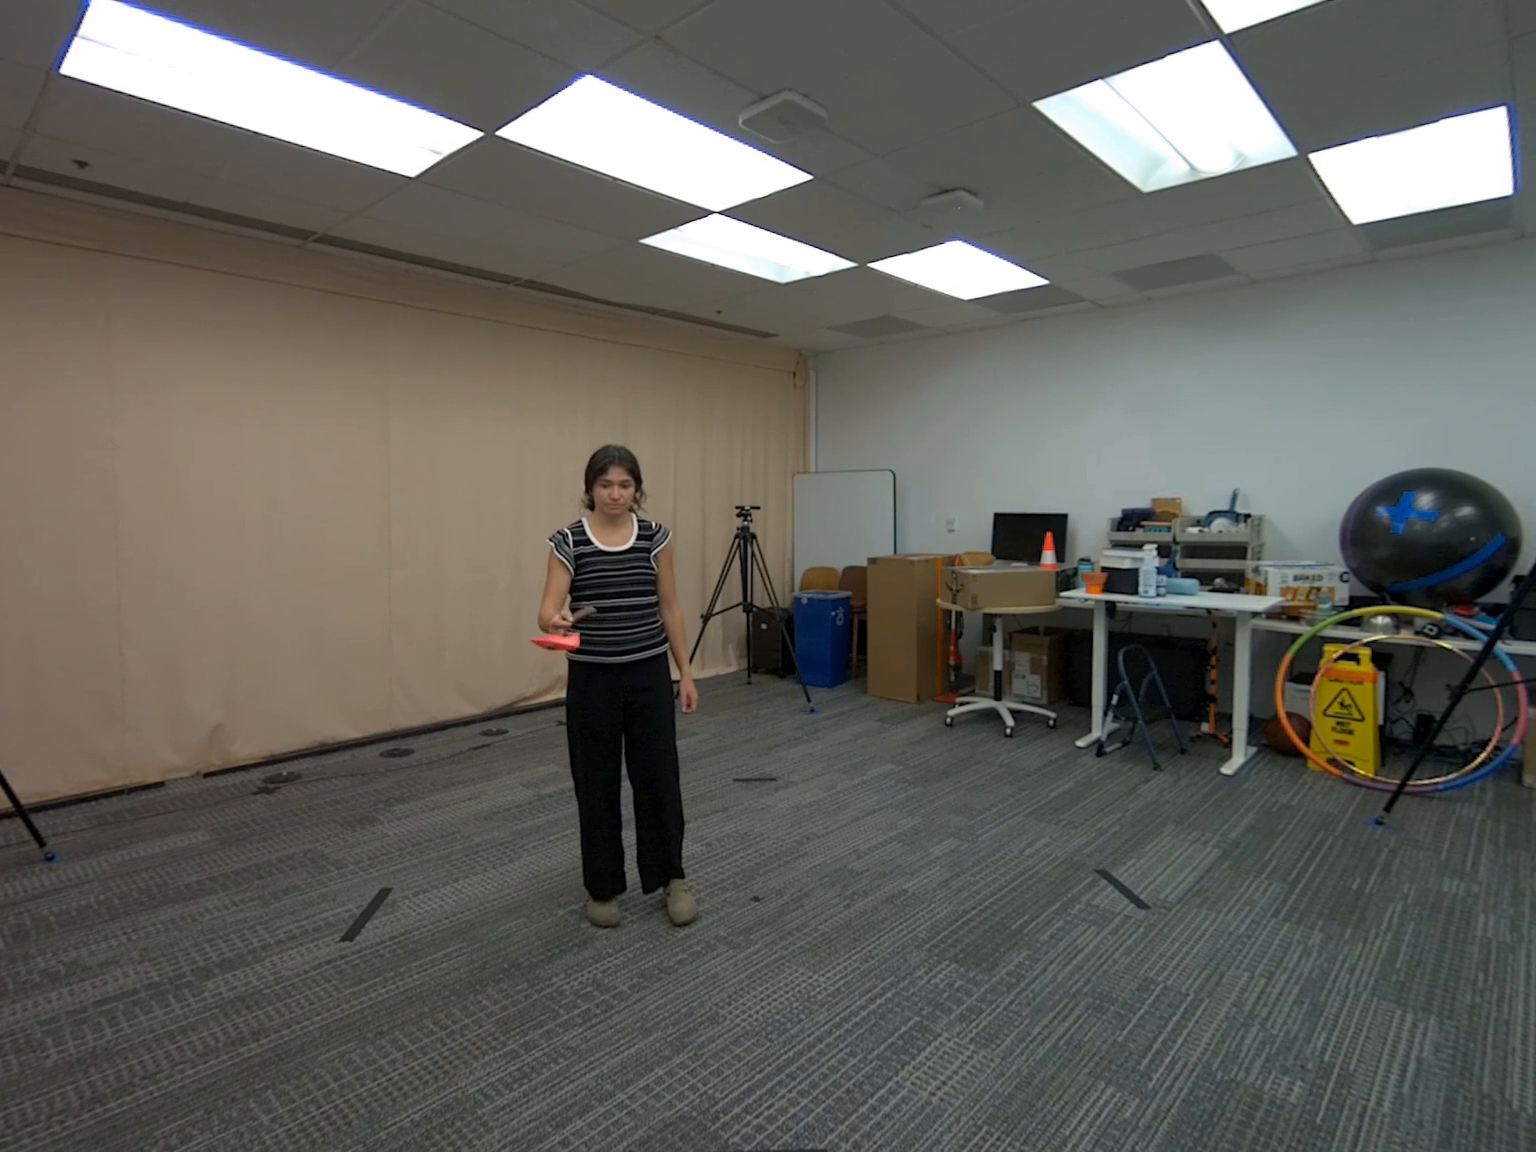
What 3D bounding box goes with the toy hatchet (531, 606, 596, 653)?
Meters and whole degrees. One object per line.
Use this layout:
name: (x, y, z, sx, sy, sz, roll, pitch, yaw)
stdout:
toy hatchet: (-0.527, 0.145, 2.377, 0.135, 0.029, 0.265, 13, 24, 24)
